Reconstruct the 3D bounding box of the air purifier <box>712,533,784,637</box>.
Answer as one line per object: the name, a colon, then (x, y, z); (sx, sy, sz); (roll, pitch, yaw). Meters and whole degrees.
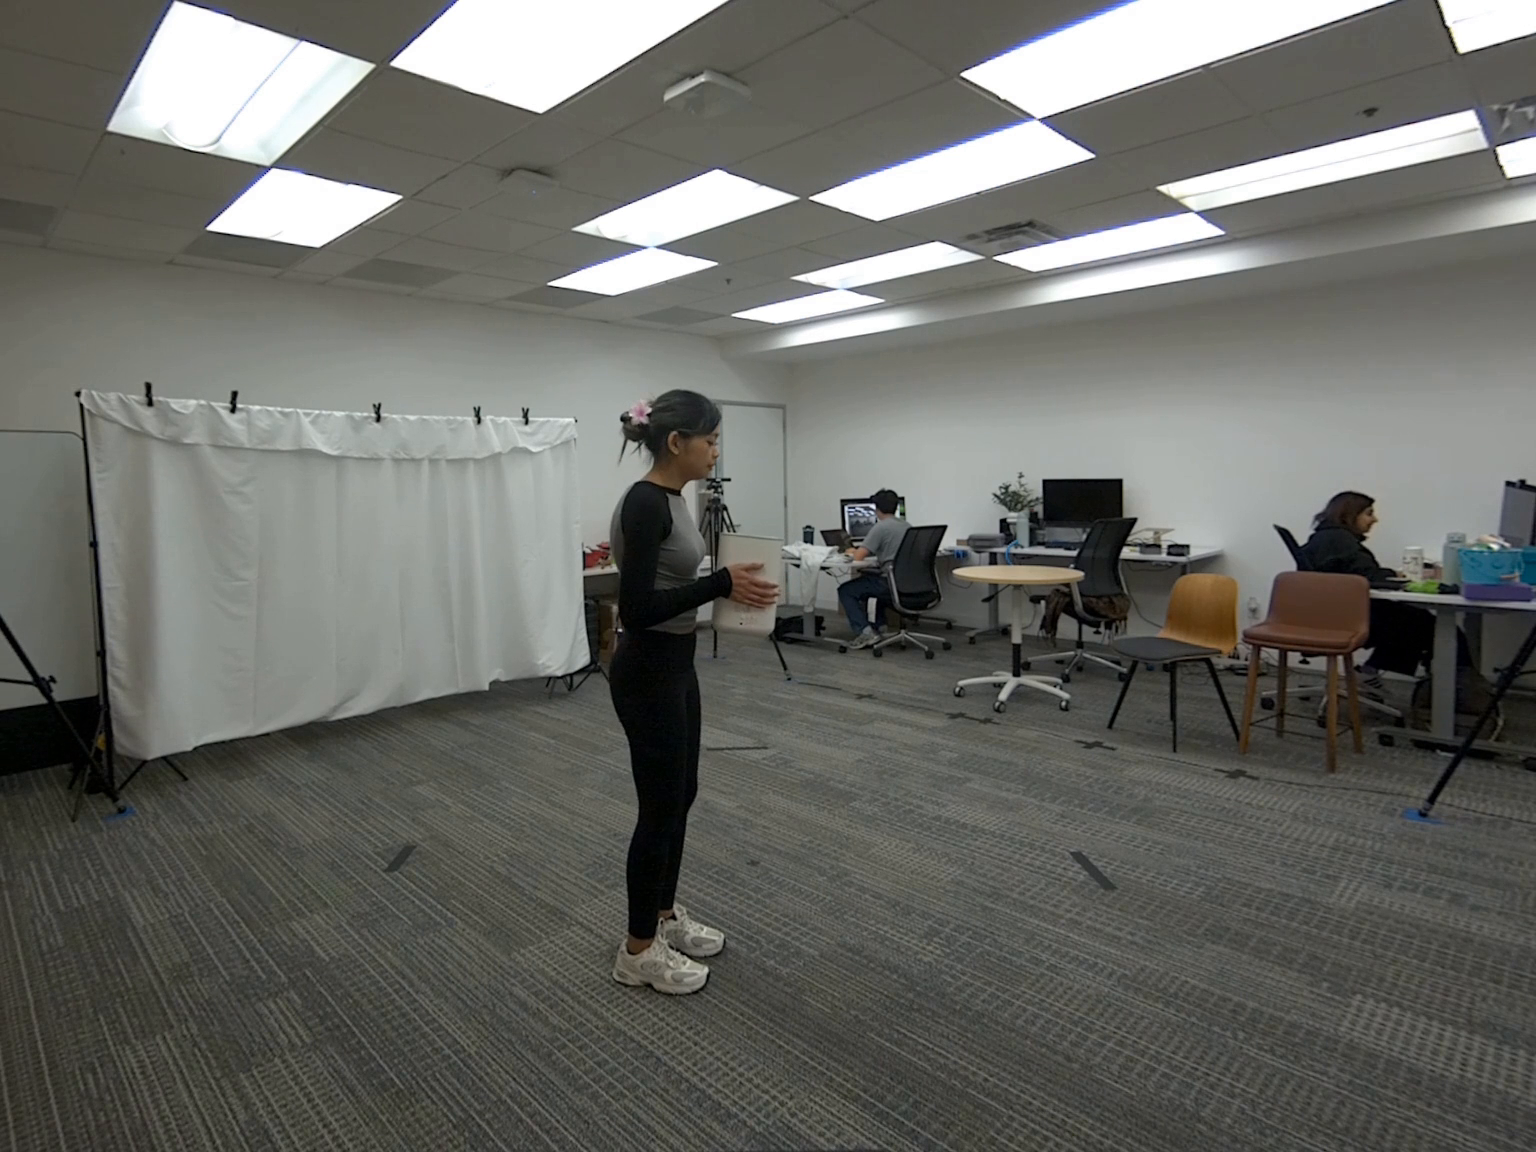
air purifier: (-0.054, 0.020, 2.323); (0.170, 0.265, 0.172); (5, 0, -3)
